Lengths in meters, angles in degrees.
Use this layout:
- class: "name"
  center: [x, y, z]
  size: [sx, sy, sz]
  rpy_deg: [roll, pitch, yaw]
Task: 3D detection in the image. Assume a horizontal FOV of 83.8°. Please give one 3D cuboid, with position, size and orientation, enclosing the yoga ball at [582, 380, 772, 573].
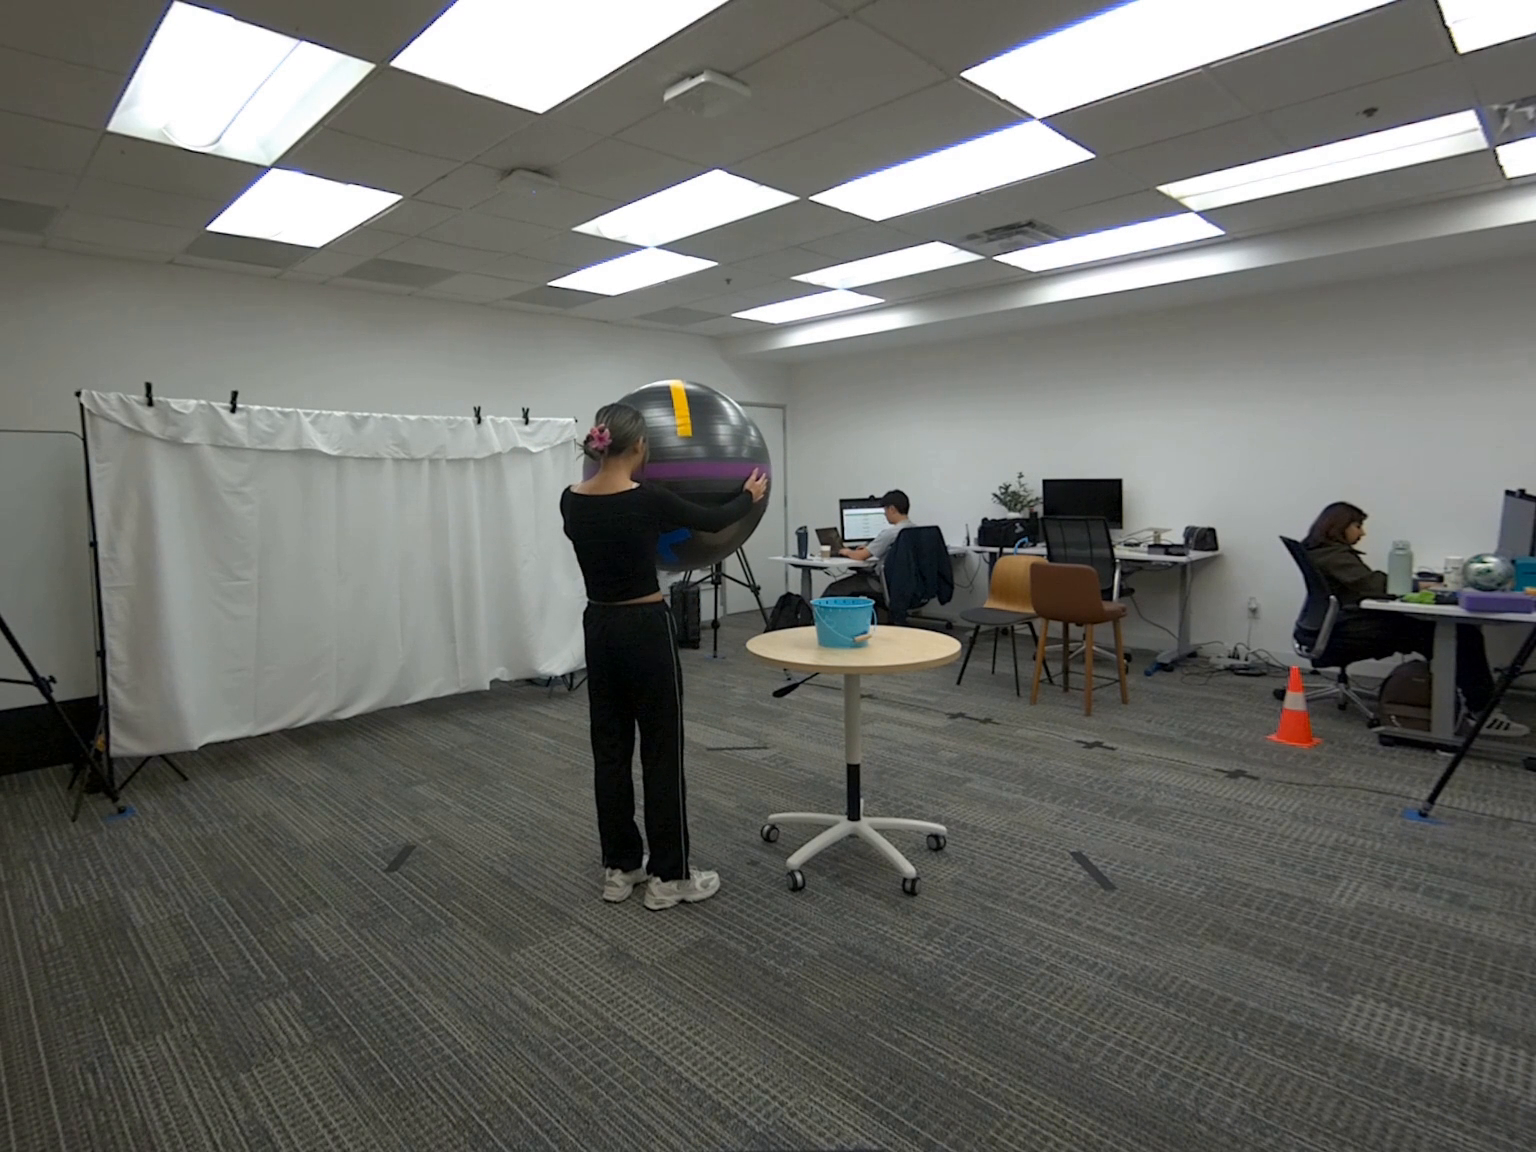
- class: "yoga ball"
  center: [-0.365, -0.394, 3.432]
  size: [0.757, 0.755, 0.762]
  rpy_deg: [-1, 5, -2]
